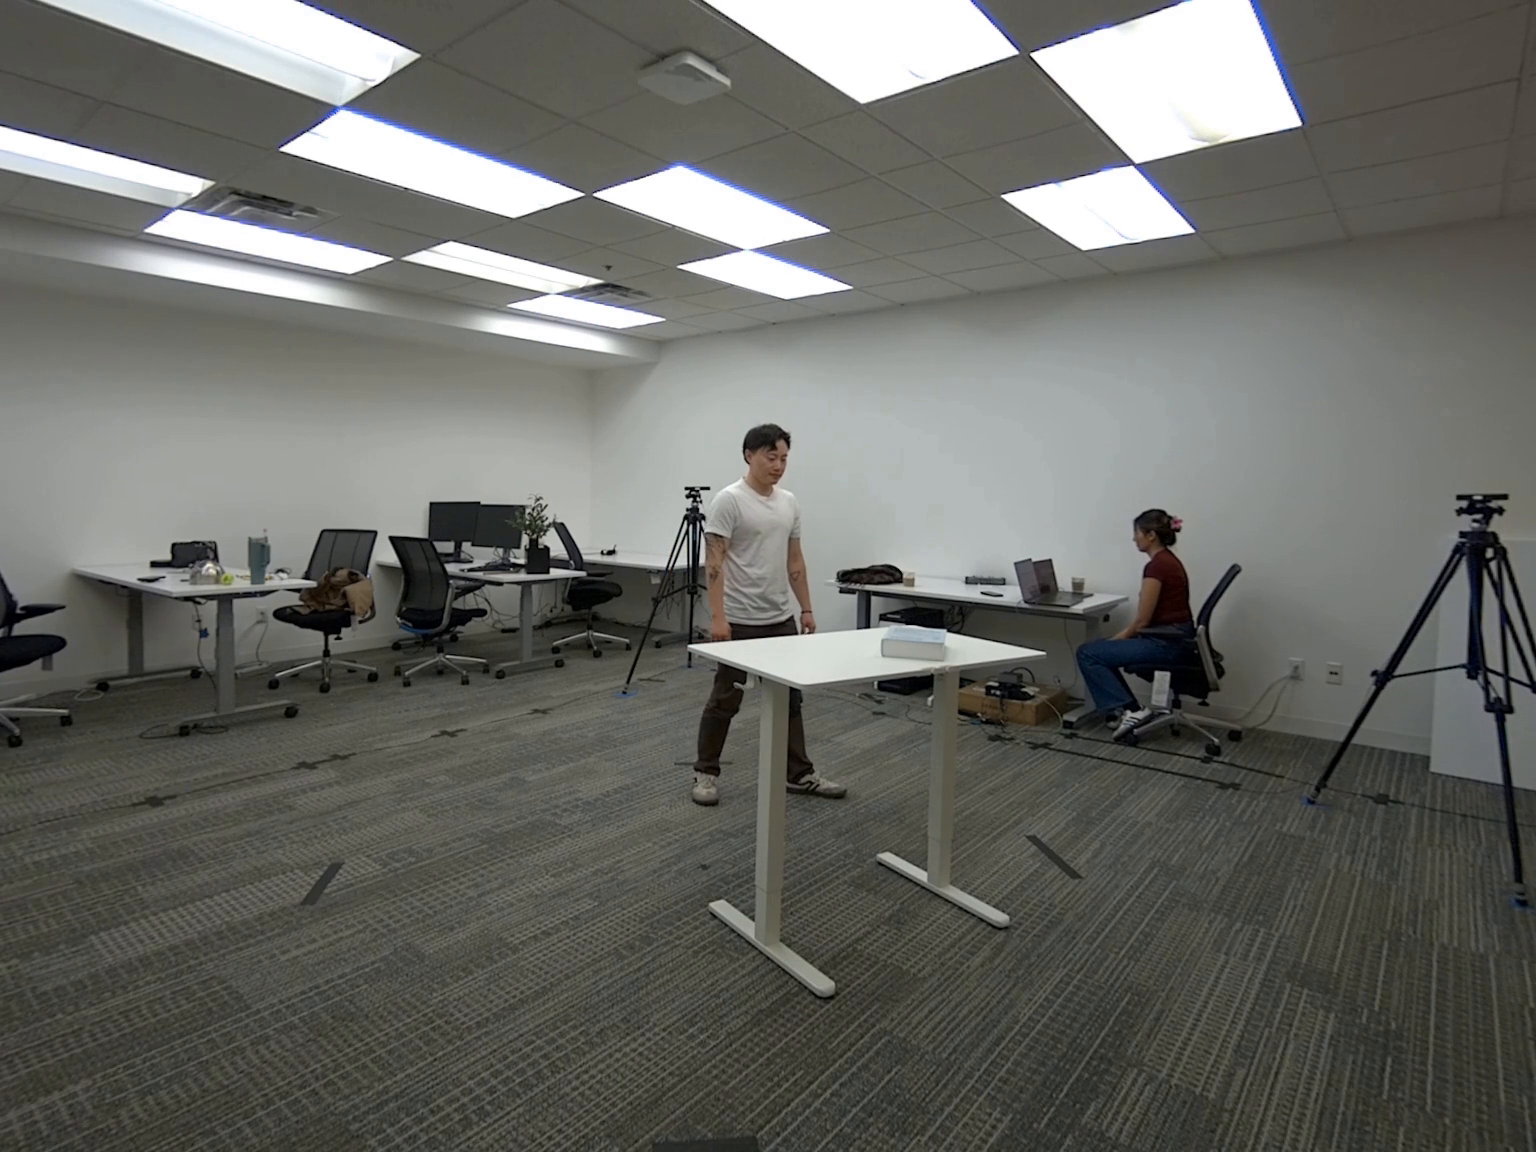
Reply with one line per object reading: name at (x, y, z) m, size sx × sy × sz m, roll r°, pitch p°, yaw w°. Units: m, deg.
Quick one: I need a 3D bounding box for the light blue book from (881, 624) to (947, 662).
light blue book at (0.474, 0.210, 2.716) m, size 0.194 × 0.059 × 0.258 m, roll 2°, pitch 5°, yaw 12°
